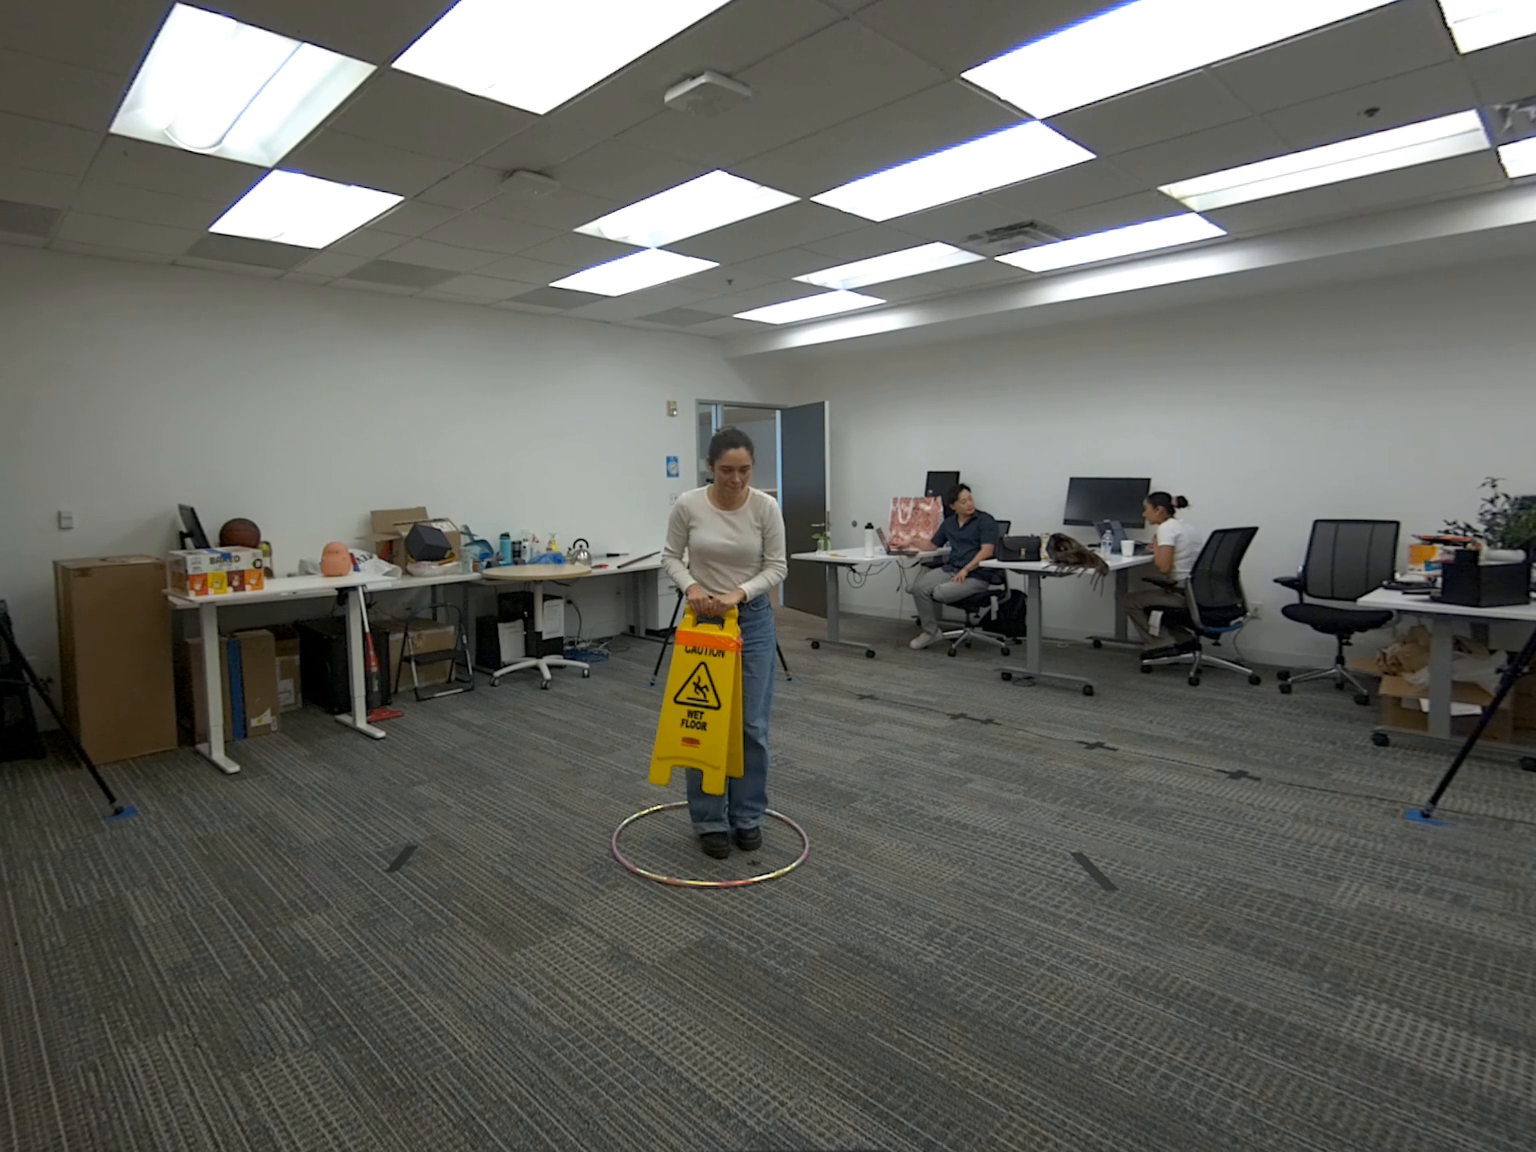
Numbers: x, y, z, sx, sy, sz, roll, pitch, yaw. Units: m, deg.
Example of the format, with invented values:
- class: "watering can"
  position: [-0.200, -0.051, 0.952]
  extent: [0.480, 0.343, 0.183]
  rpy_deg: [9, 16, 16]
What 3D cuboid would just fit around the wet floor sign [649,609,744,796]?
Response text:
- class: "wet floor sign"
  position: [-0.206, 0.417, 3.078]
  extent: [0.286, 0.647, 0.285]
  rpy_deg: [2, -1, 14]
